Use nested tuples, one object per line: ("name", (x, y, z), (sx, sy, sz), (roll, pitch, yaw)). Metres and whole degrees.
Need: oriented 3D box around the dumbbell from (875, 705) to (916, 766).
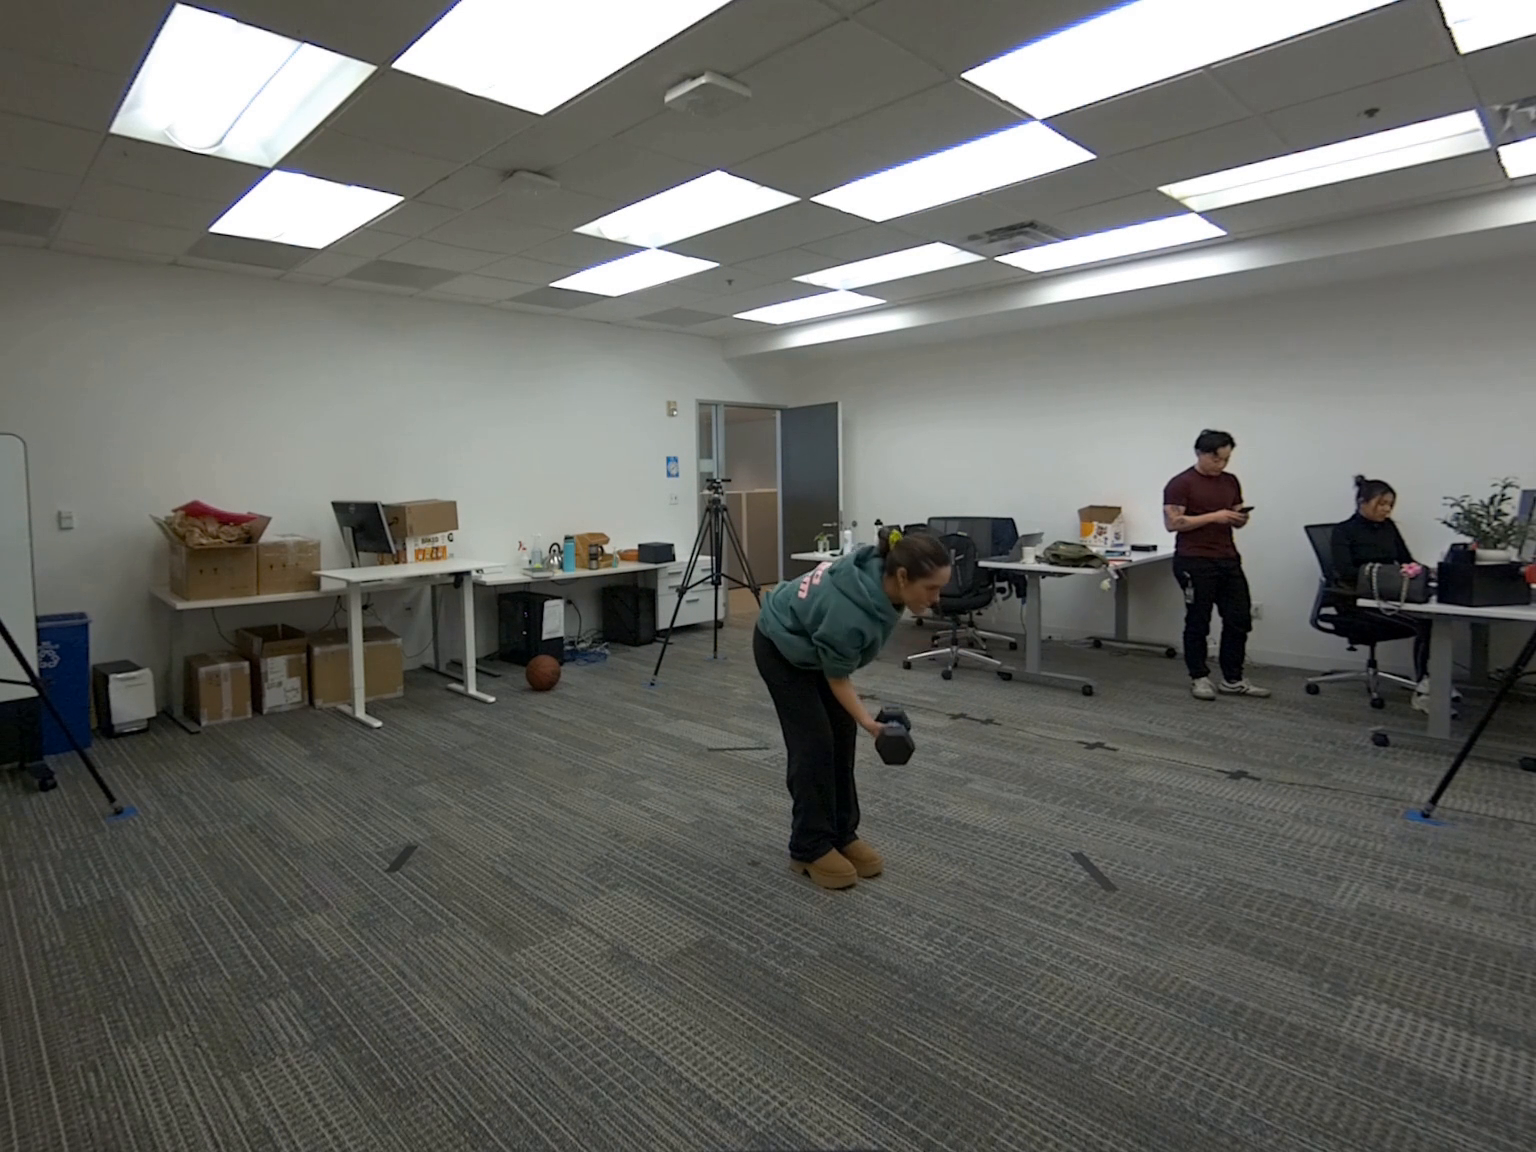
("dumbbell", (0.412, 0.510, 2.733), (0.109, 0.123, 0.293), (-30, 4, 8))
